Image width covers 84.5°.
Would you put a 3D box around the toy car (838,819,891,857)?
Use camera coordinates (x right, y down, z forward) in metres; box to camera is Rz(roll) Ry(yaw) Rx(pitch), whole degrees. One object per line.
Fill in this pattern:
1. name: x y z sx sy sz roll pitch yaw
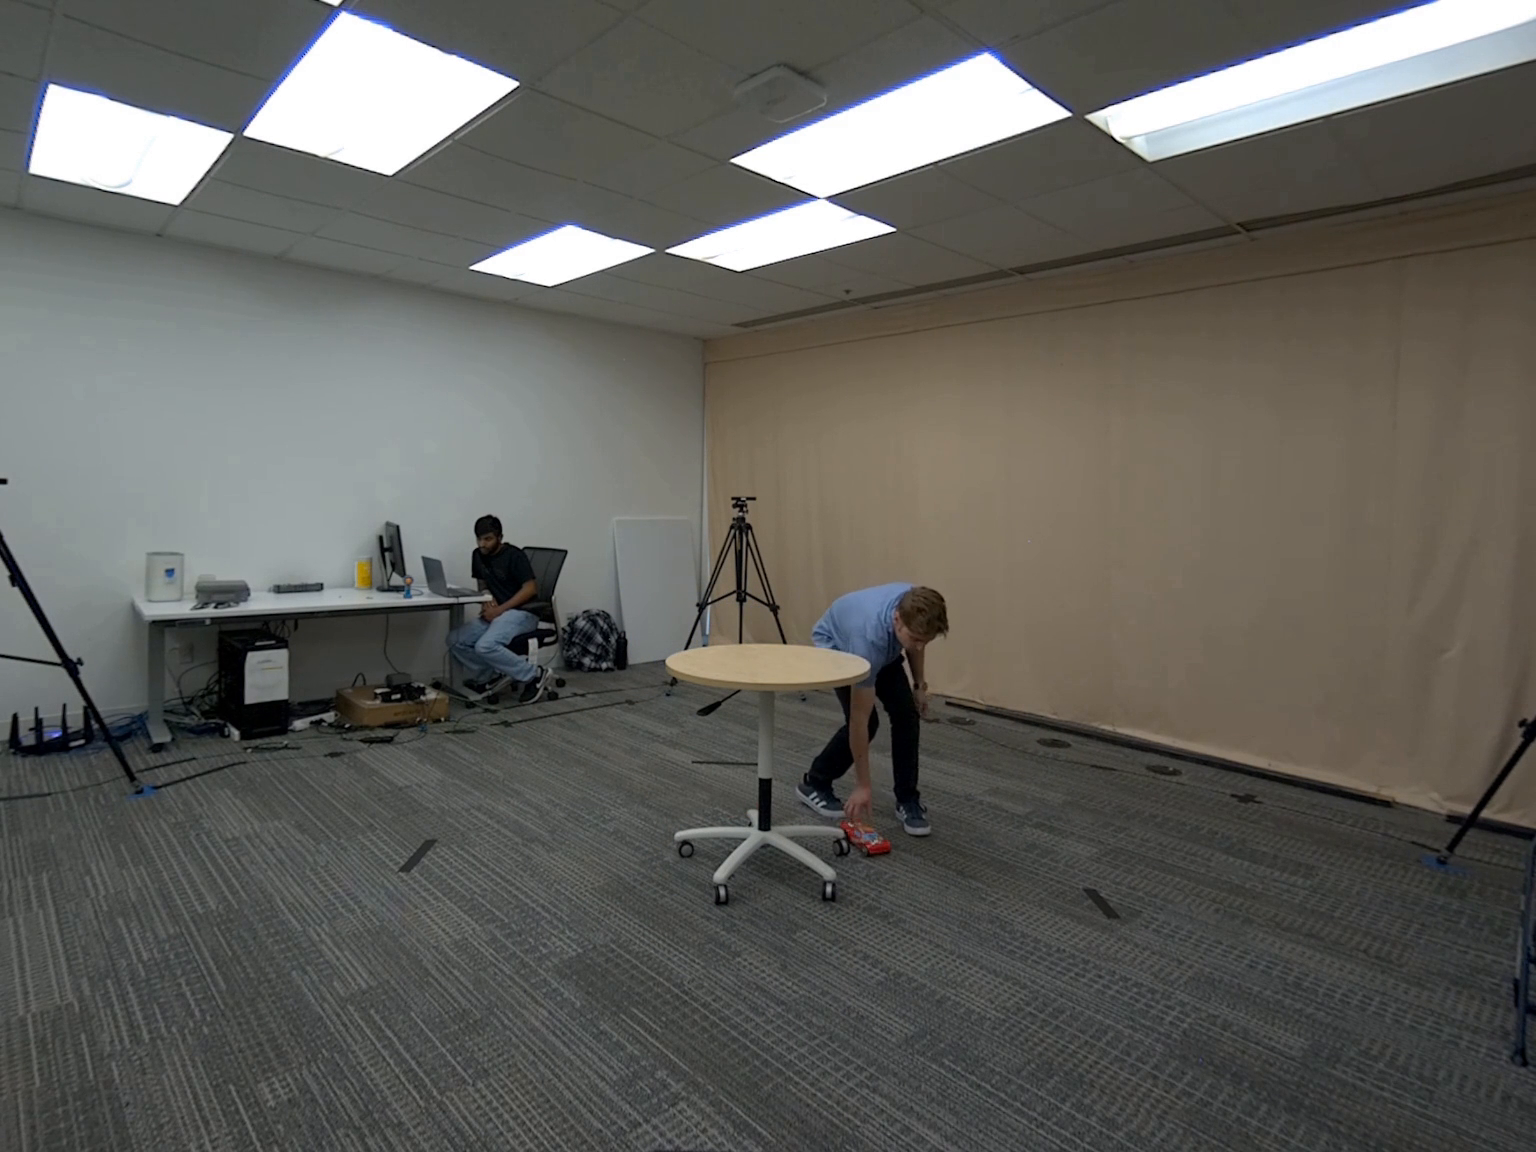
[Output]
1. toy car: 0.376 1.063 3.418 0.128 0.082 0.261 1 16 -25
